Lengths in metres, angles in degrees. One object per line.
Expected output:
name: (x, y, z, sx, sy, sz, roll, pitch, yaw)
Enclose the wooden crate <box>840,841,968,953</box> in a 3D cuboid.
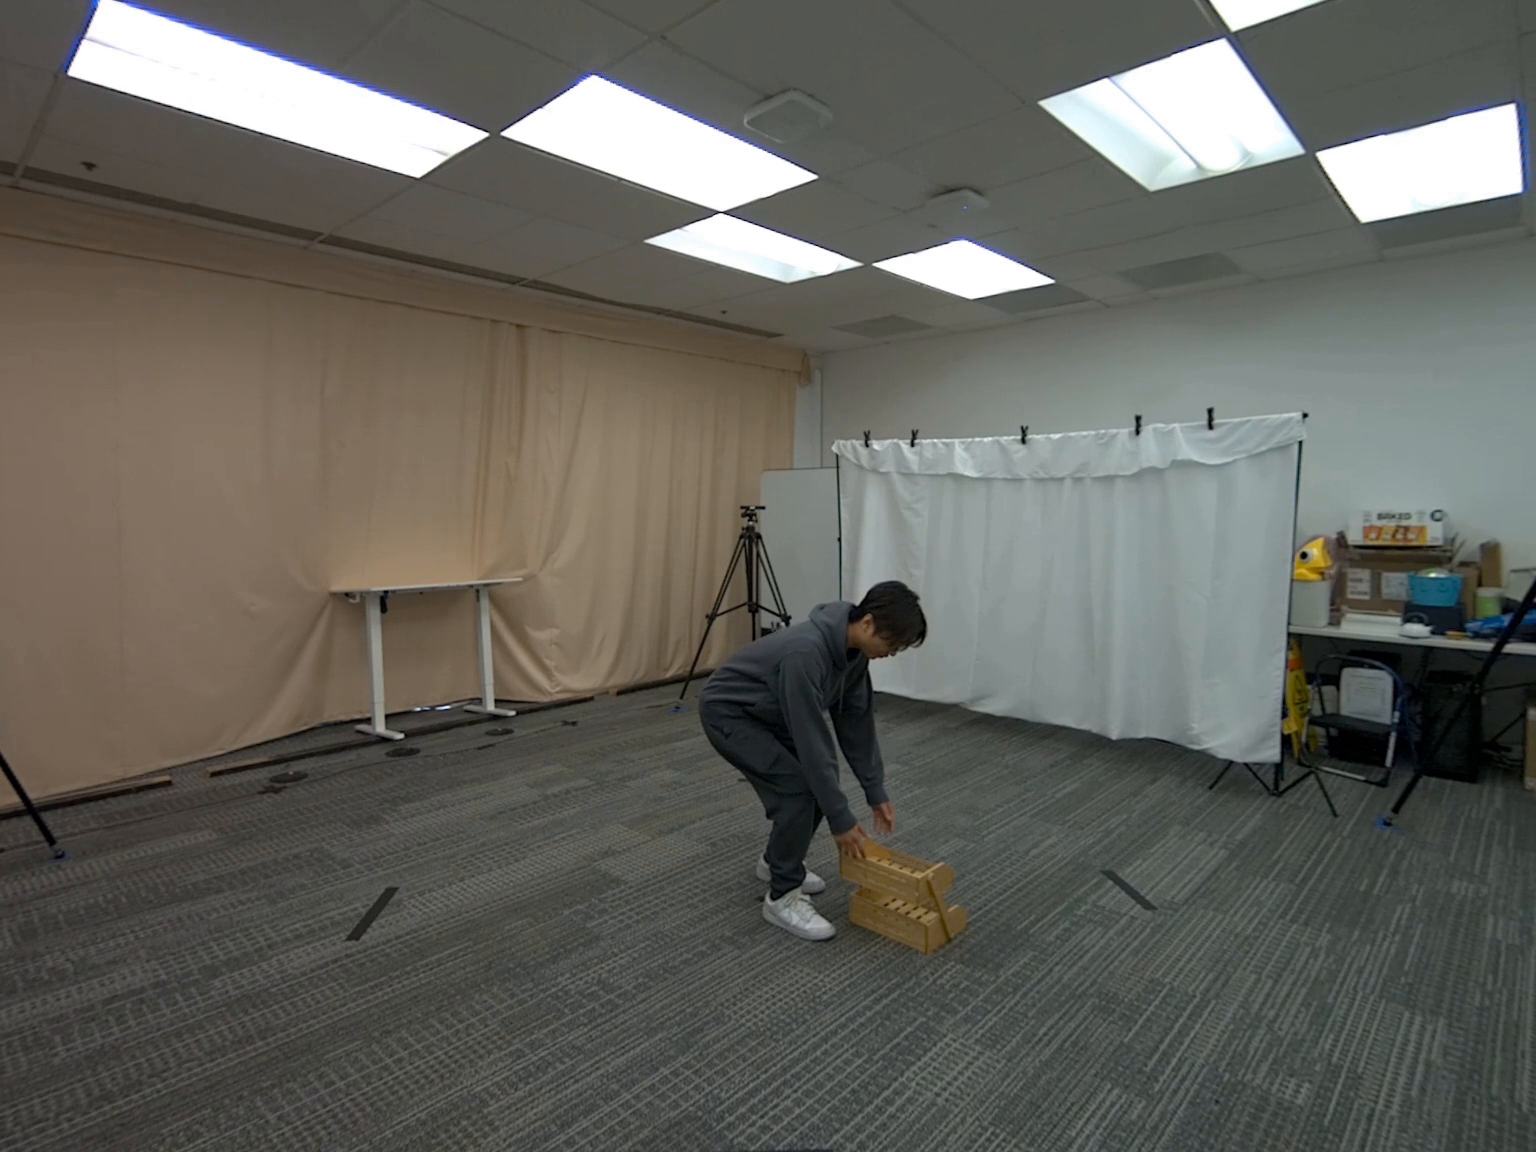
wooden crate: (0.450, 1.024, 2.781, 0.335, 0.272, 0.293, 3, 6, 43)
